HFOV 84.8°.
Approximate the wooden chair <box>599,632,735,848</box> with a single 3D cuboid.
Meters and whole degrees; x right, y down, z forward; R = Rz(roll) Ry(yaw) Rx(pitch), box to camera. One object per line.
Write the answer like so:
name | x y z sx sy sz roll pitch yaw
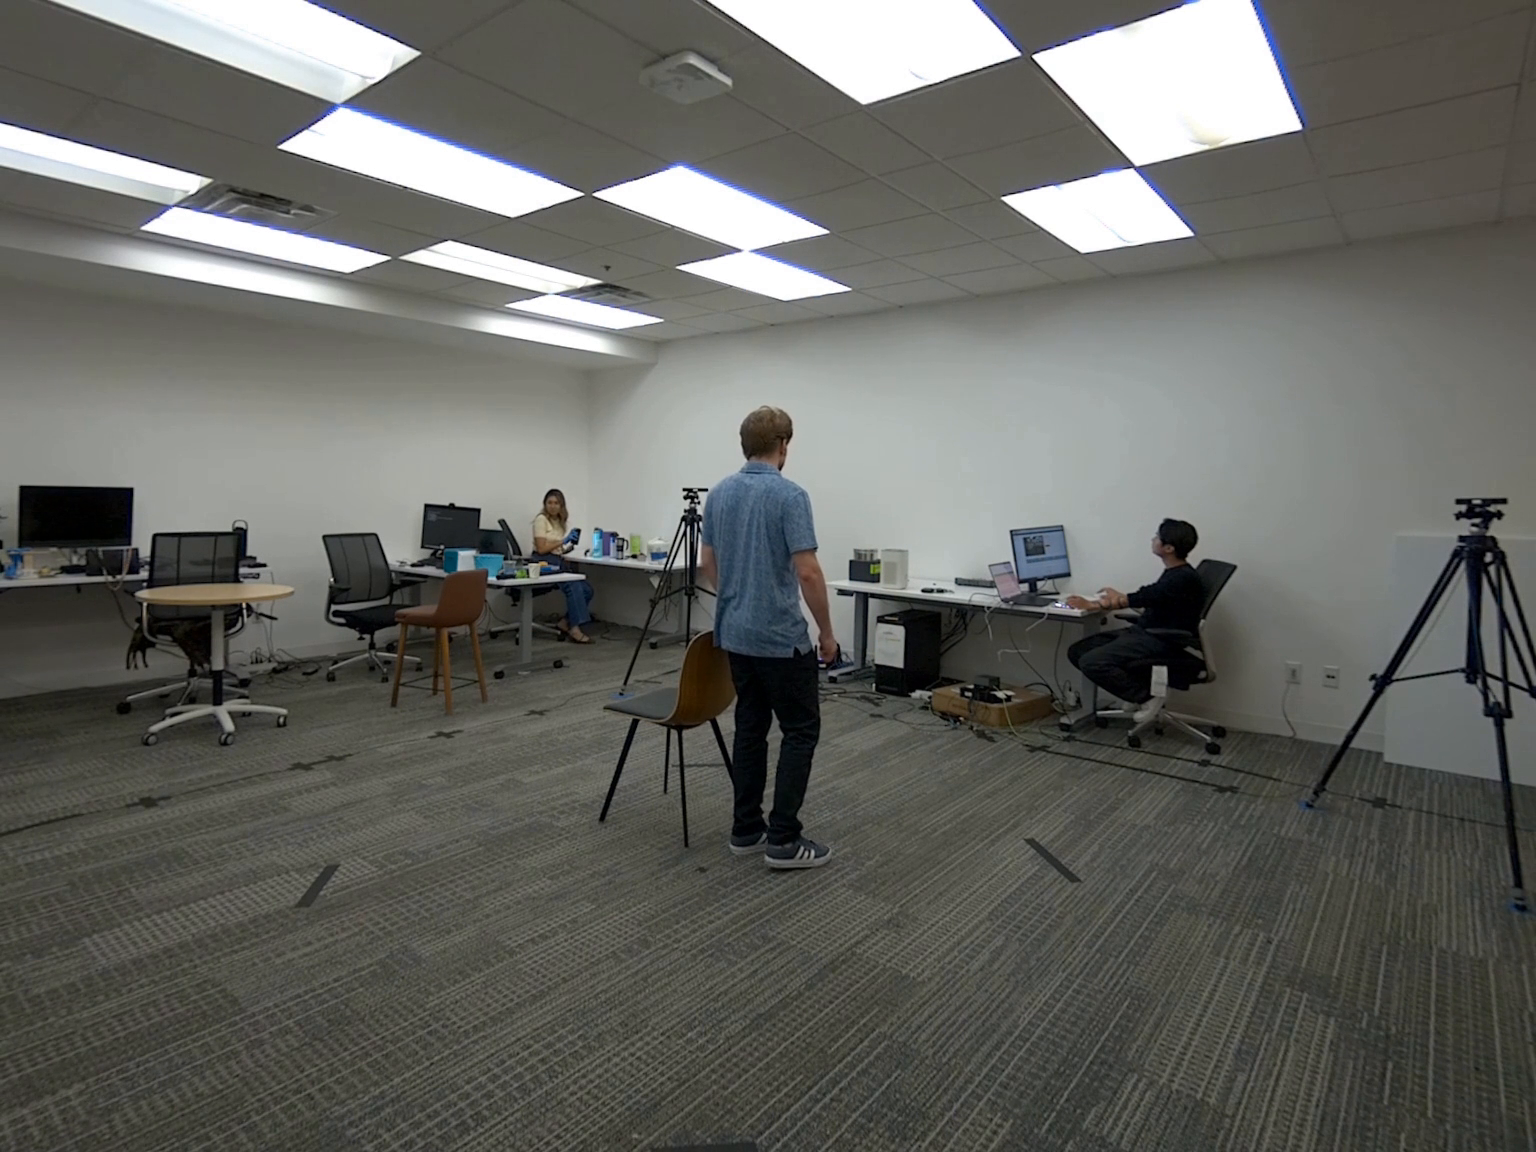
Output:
wooden chair | -0.408 0.592 3.575 0.540 0.873 0.465 8 7 32
